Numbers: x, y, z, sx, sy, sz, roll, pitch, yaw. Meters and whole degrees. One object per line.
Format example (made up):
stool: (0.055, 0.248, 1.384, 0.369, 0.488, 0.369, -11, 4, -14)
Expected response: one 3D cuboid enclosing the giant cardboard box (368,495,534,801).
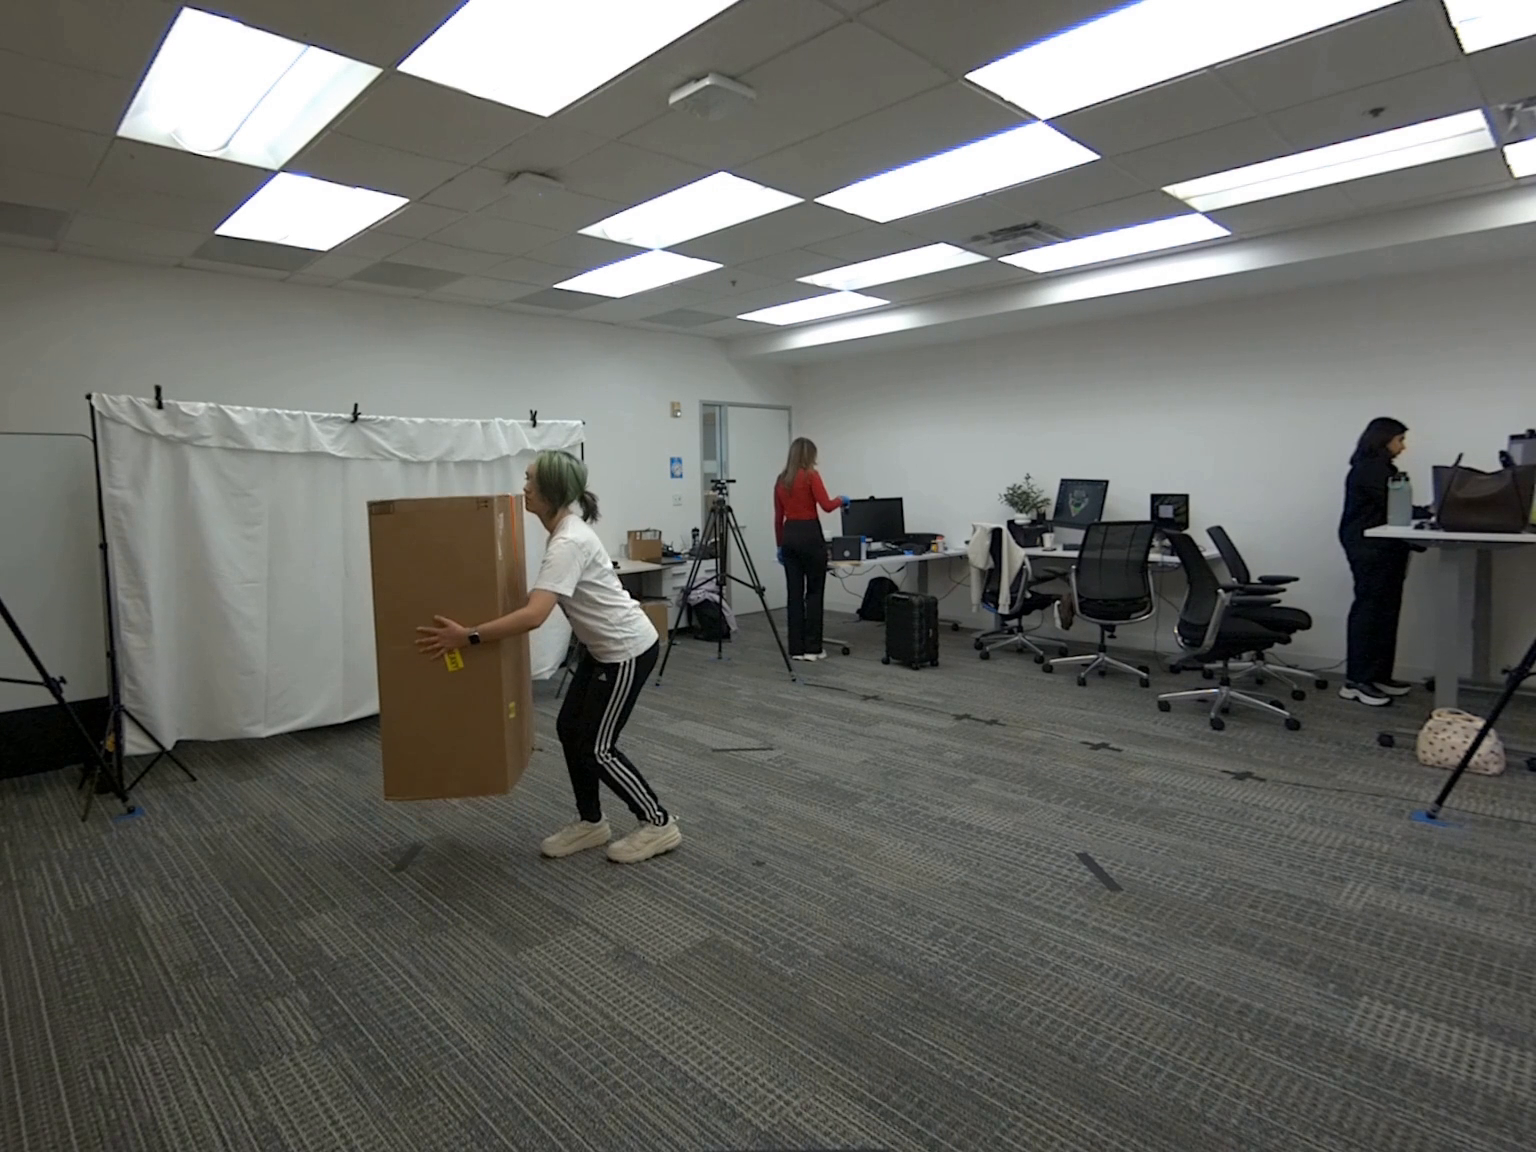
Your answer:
giant cardboard box: (-1.144, 0.225, 3.164, 0.445, 1.023, 0.588, -3, 4, -5)
